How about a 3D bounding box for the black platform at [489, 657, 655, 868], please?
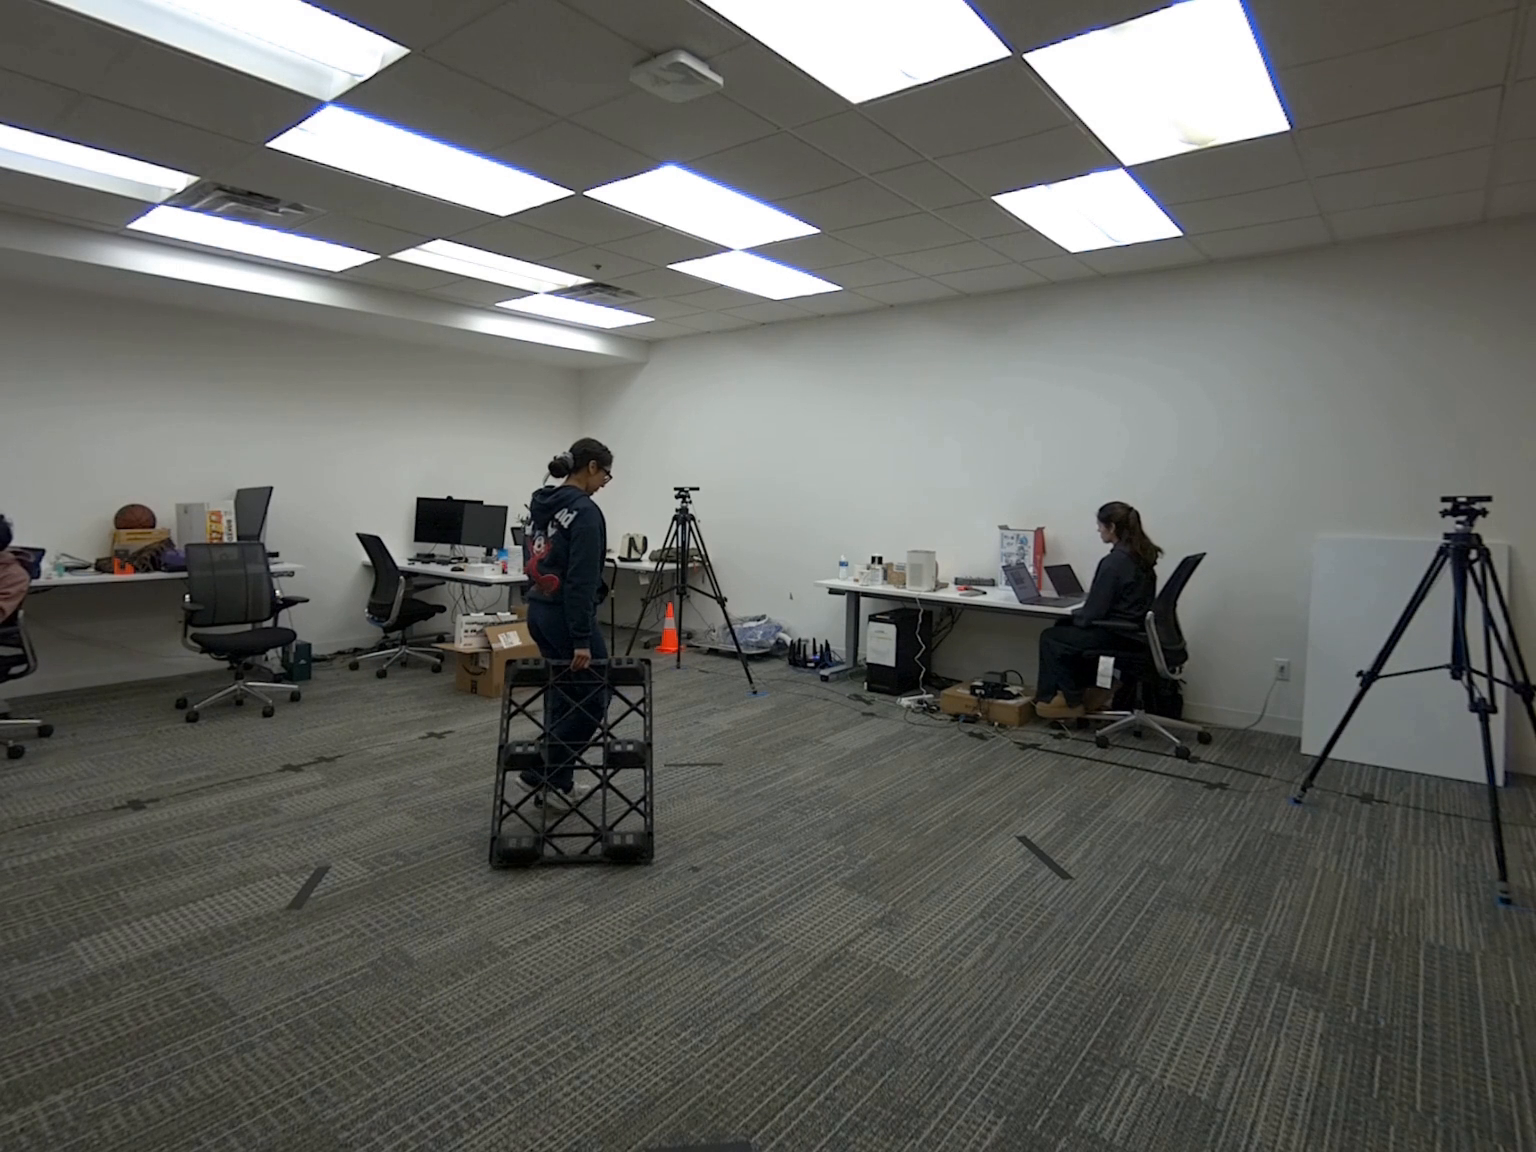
[{"bbox_3d":[-0.749,0.679,3.268,0.601,0.828,0.140,-1,-31,-6],"label":"black platform"}]
